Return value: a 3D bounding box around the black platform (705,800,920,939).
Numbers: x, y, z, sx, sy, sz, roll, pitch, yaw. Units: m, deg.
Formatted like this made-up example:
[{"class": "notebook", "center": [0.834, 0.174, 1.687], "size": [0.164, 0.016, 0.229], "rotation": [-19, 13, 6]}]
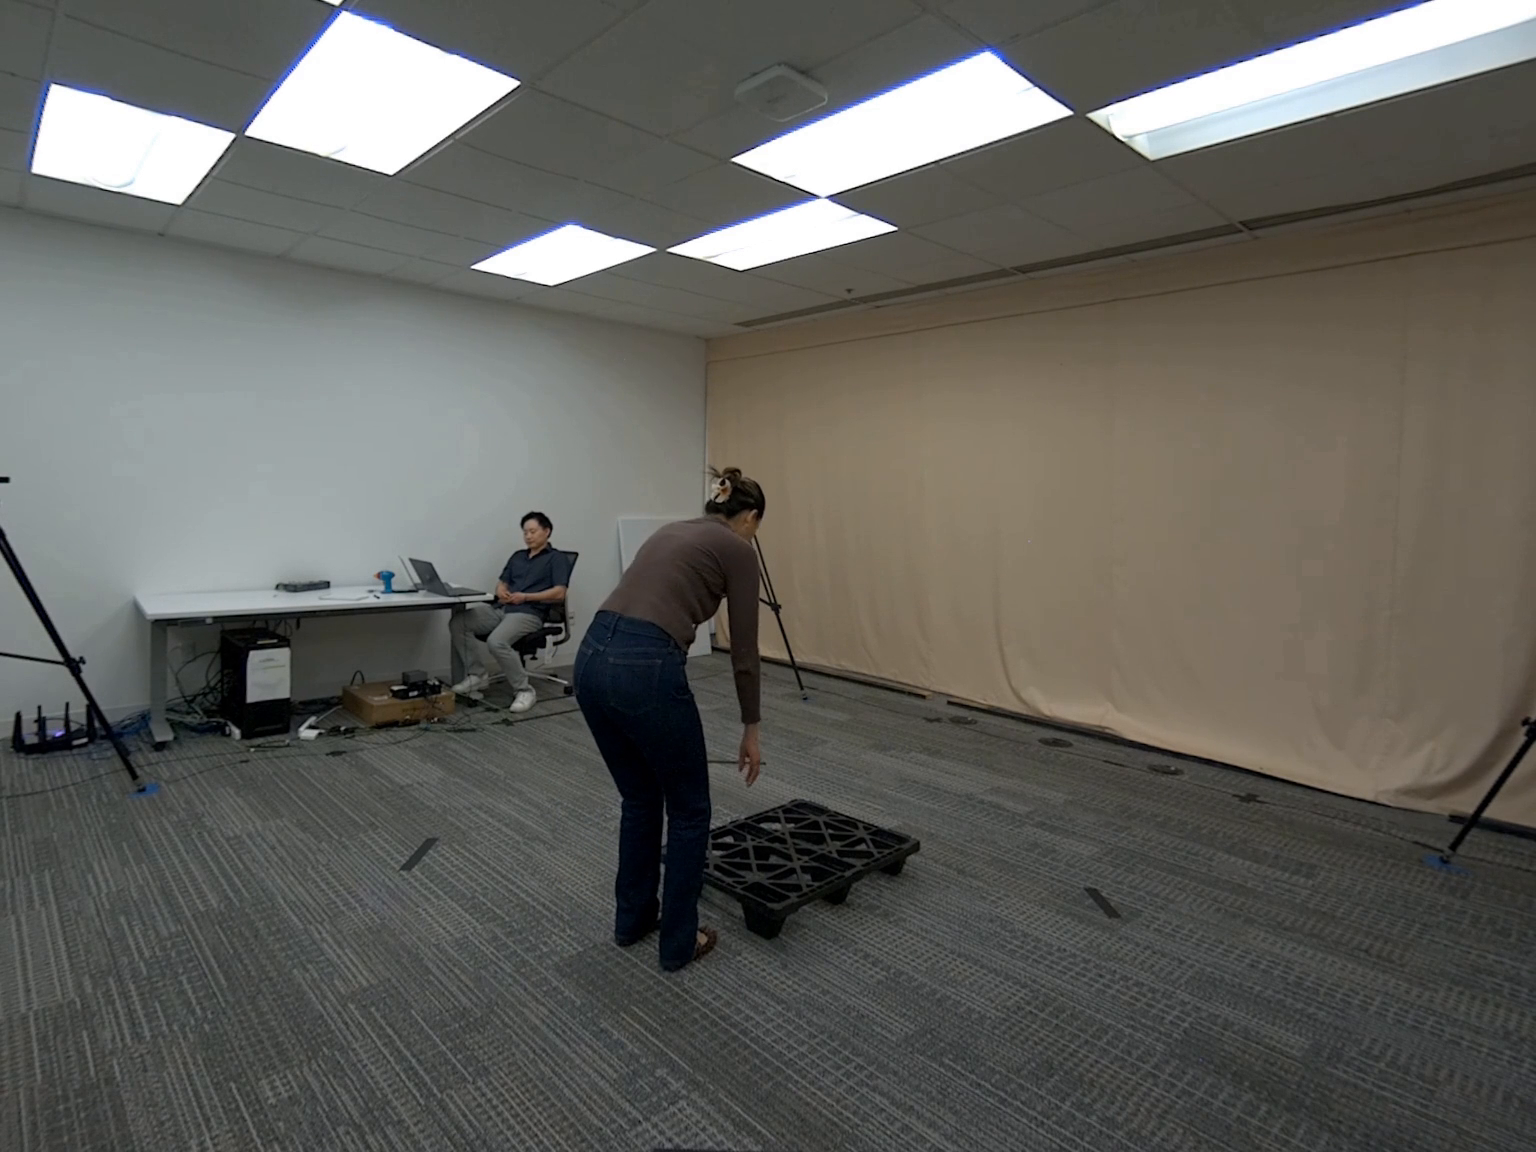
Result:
[{"class": "black platform", "center": [0.069, 1.045, 3.063], "size": [0.620, 0.143, 0.787], "rotation": [5, 6, 44]}]
